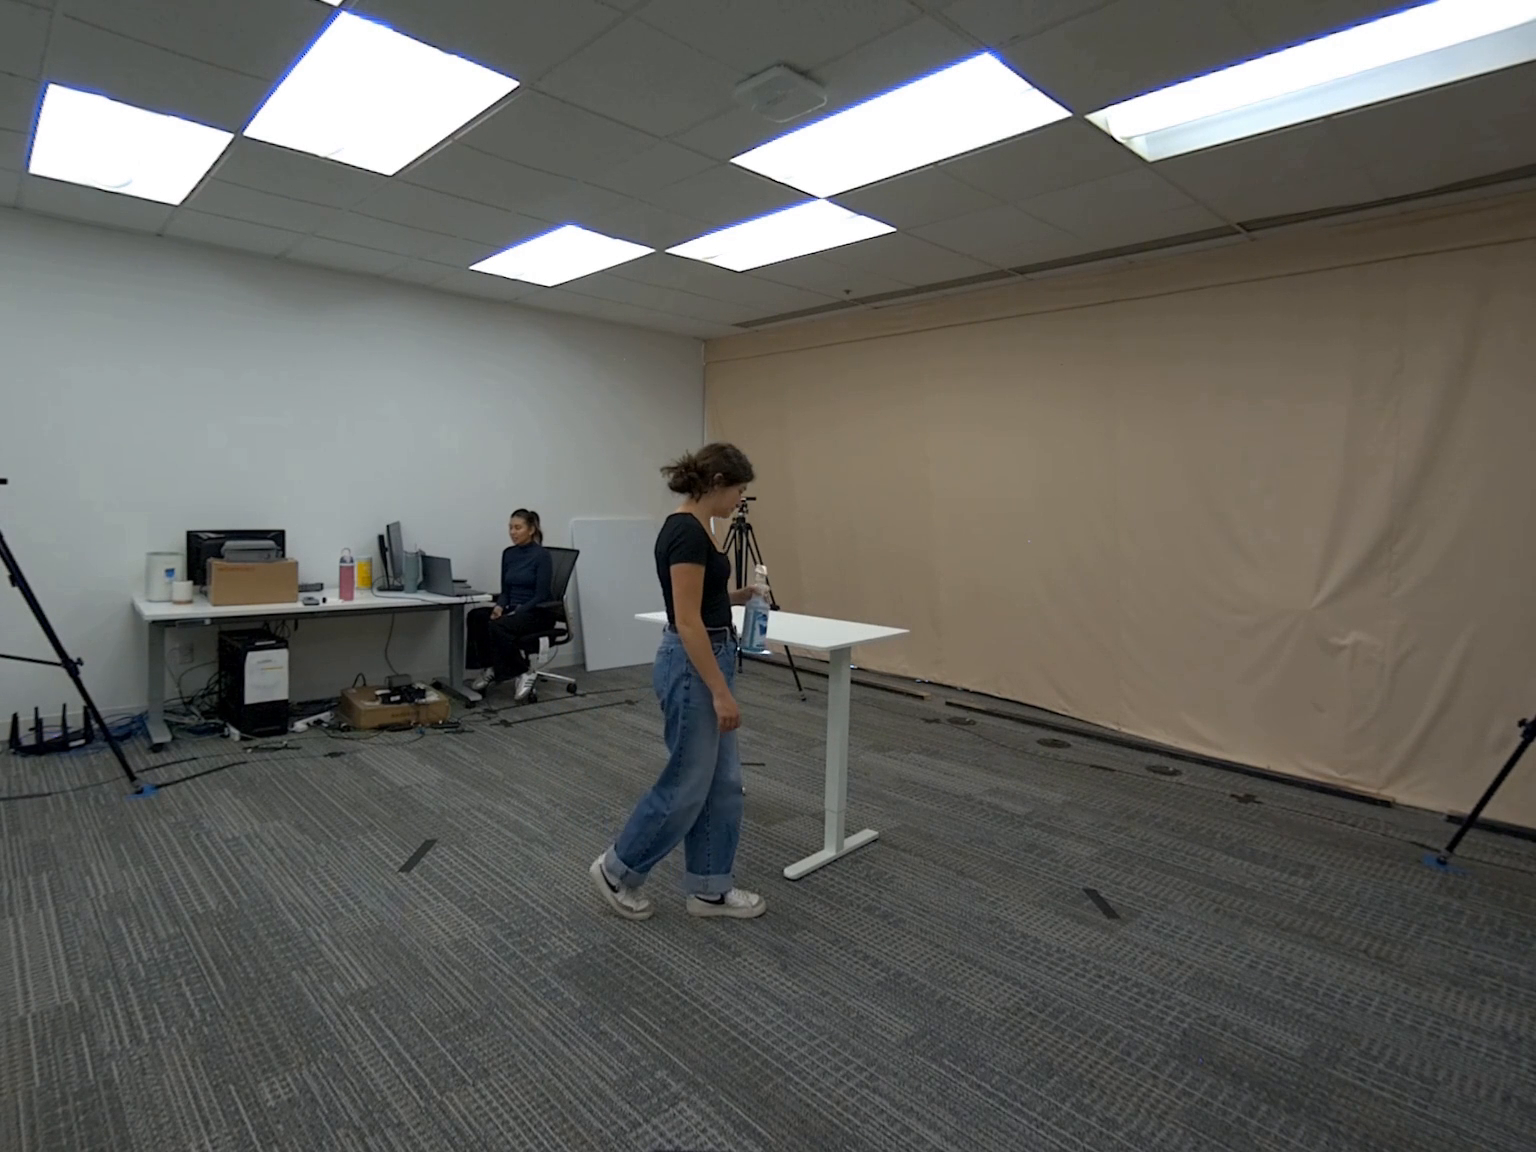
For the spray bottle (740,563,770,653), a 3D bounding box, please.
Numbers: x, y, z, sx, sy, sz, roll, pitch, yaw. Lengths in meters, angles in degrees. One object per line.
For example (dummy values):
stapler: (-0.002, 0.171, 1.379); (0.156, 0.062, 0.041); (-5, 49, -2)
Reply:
spray bottle: (-0.051, 0.111, 2.897); (0.087, 0.298, 0.089); (5, -3, 6)
